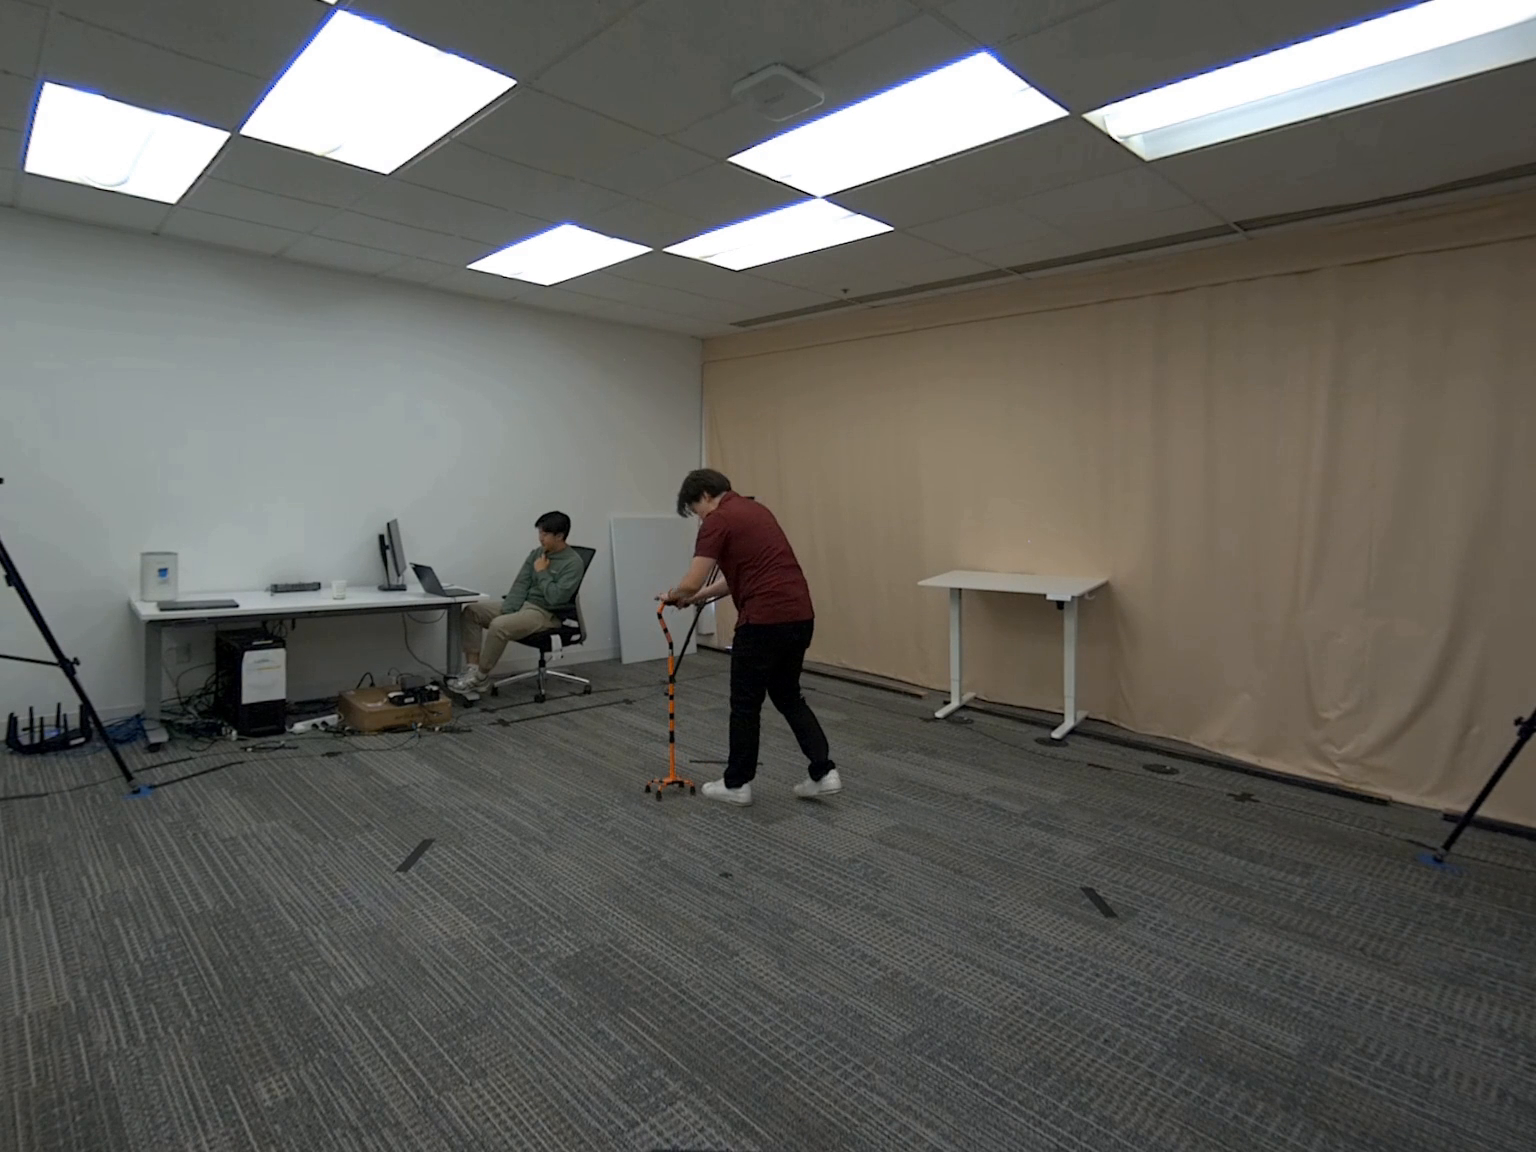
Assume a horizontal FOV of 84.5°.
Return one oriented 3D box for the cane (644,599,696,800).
[{"bbox_3d":[-0.471,0.561,3.960,0.202,0.908,0.155,0,-1,-32],"label":"cane"}]
